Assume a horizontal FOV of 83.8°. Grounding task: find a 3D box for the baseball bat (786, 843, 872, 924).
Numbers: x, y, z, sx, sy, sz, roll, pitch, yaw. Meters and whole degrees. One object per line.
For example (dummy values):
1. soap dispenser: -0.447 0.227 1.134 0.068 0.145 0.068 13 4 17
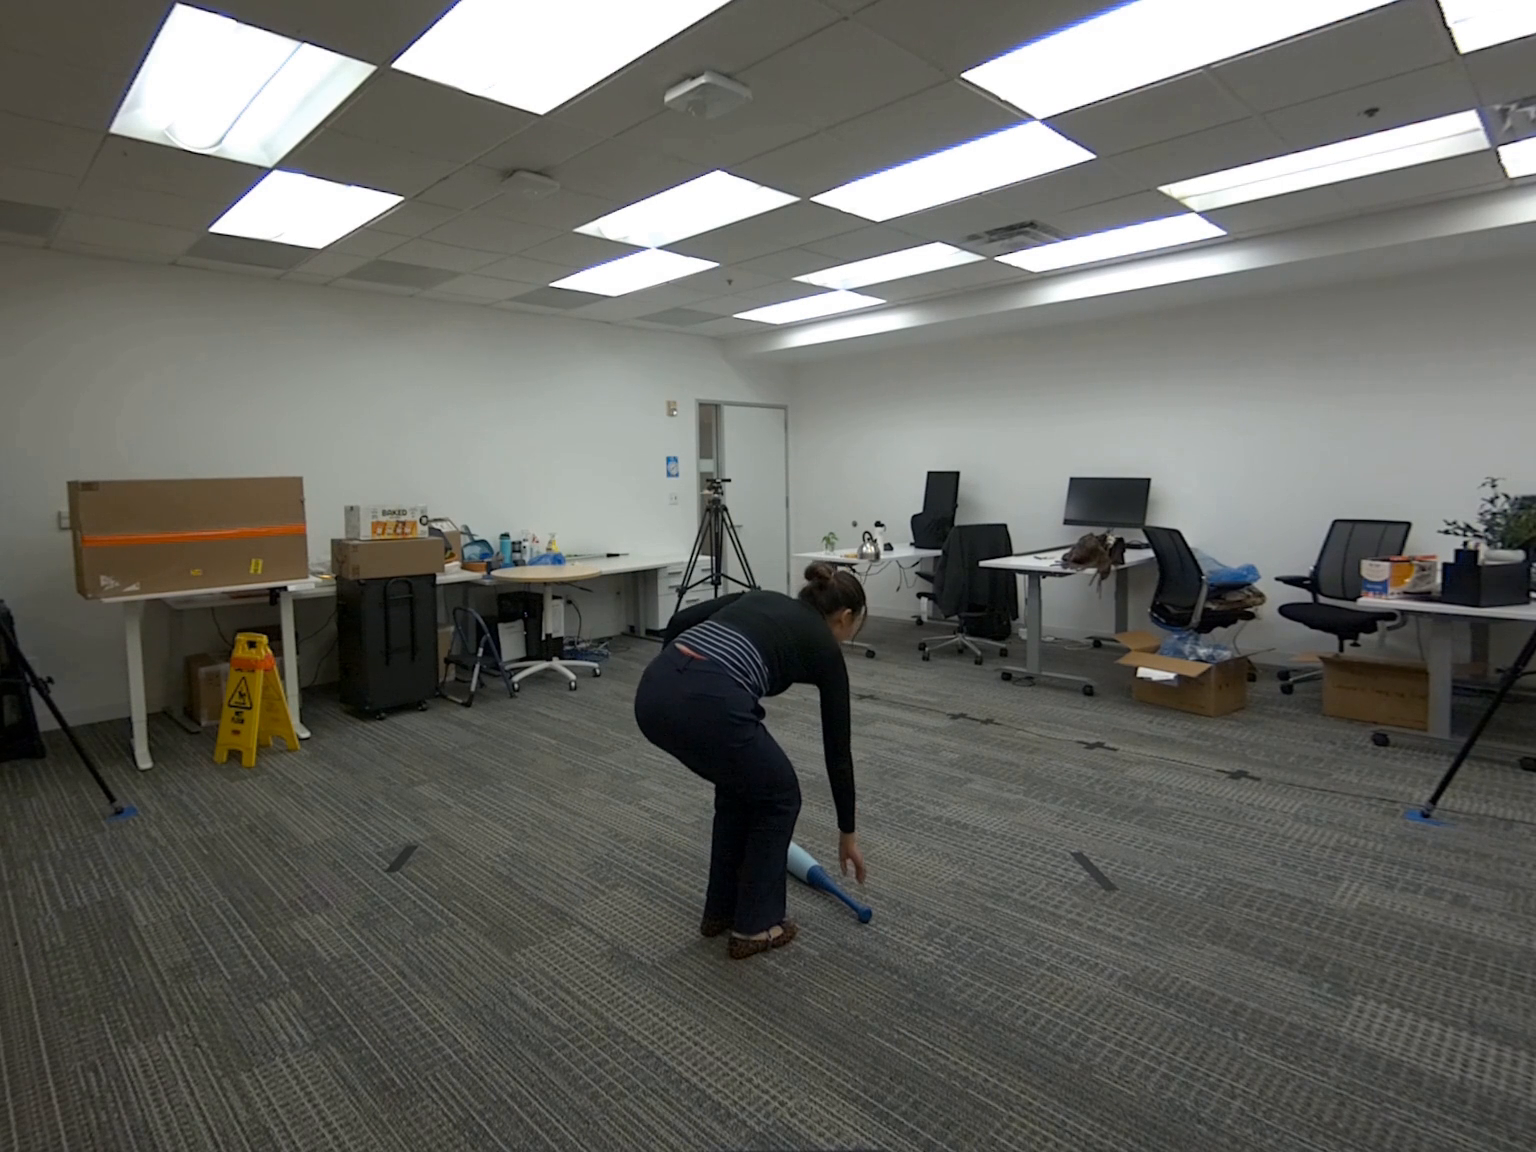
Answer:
1. baseball bat: 0.171 1.026 2.908 0.087 0.088 0.559 -4 10 -29
